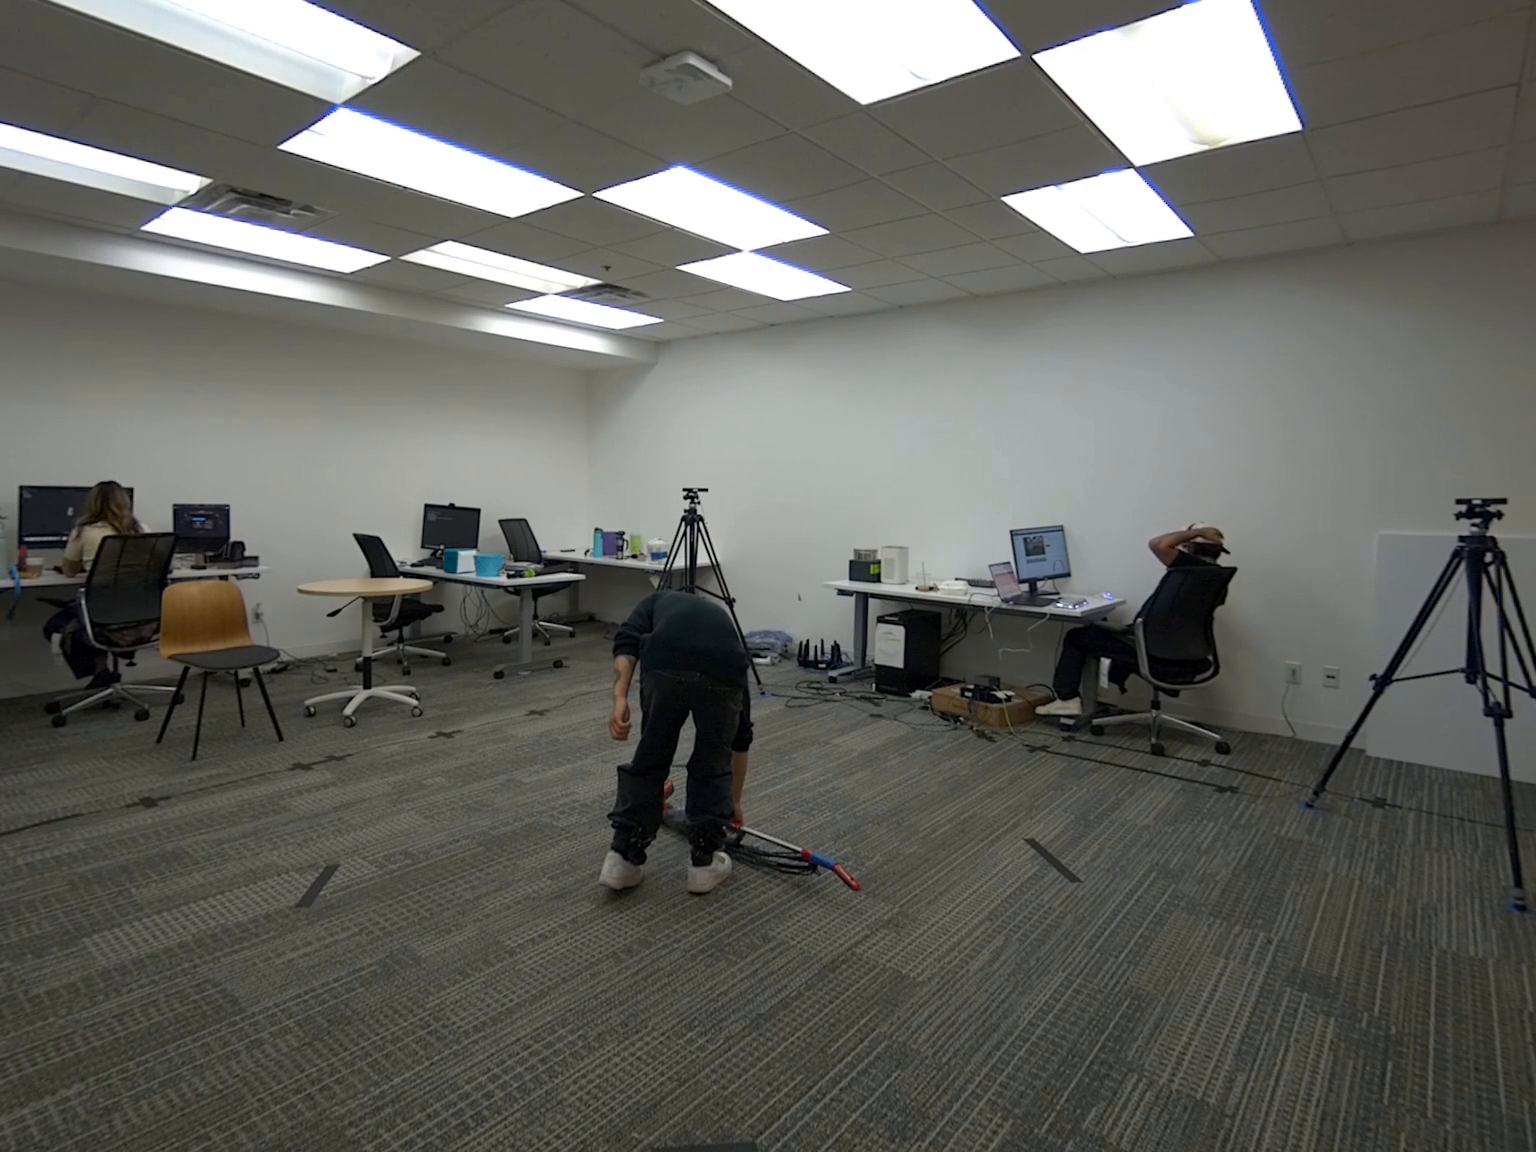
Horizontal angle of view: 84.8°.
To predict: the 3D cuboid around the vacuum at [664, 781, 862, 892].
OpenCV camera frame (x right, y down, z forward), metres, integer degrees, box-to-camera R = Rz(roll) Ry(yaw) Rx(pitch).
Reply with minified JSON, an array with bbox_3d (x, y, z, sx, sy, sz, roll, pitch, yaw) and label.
[{"bbox_3d":[-0.095,0.997,3.219,1.086,0.143,0.245,7,10,43],"label":"vacuum"}]
